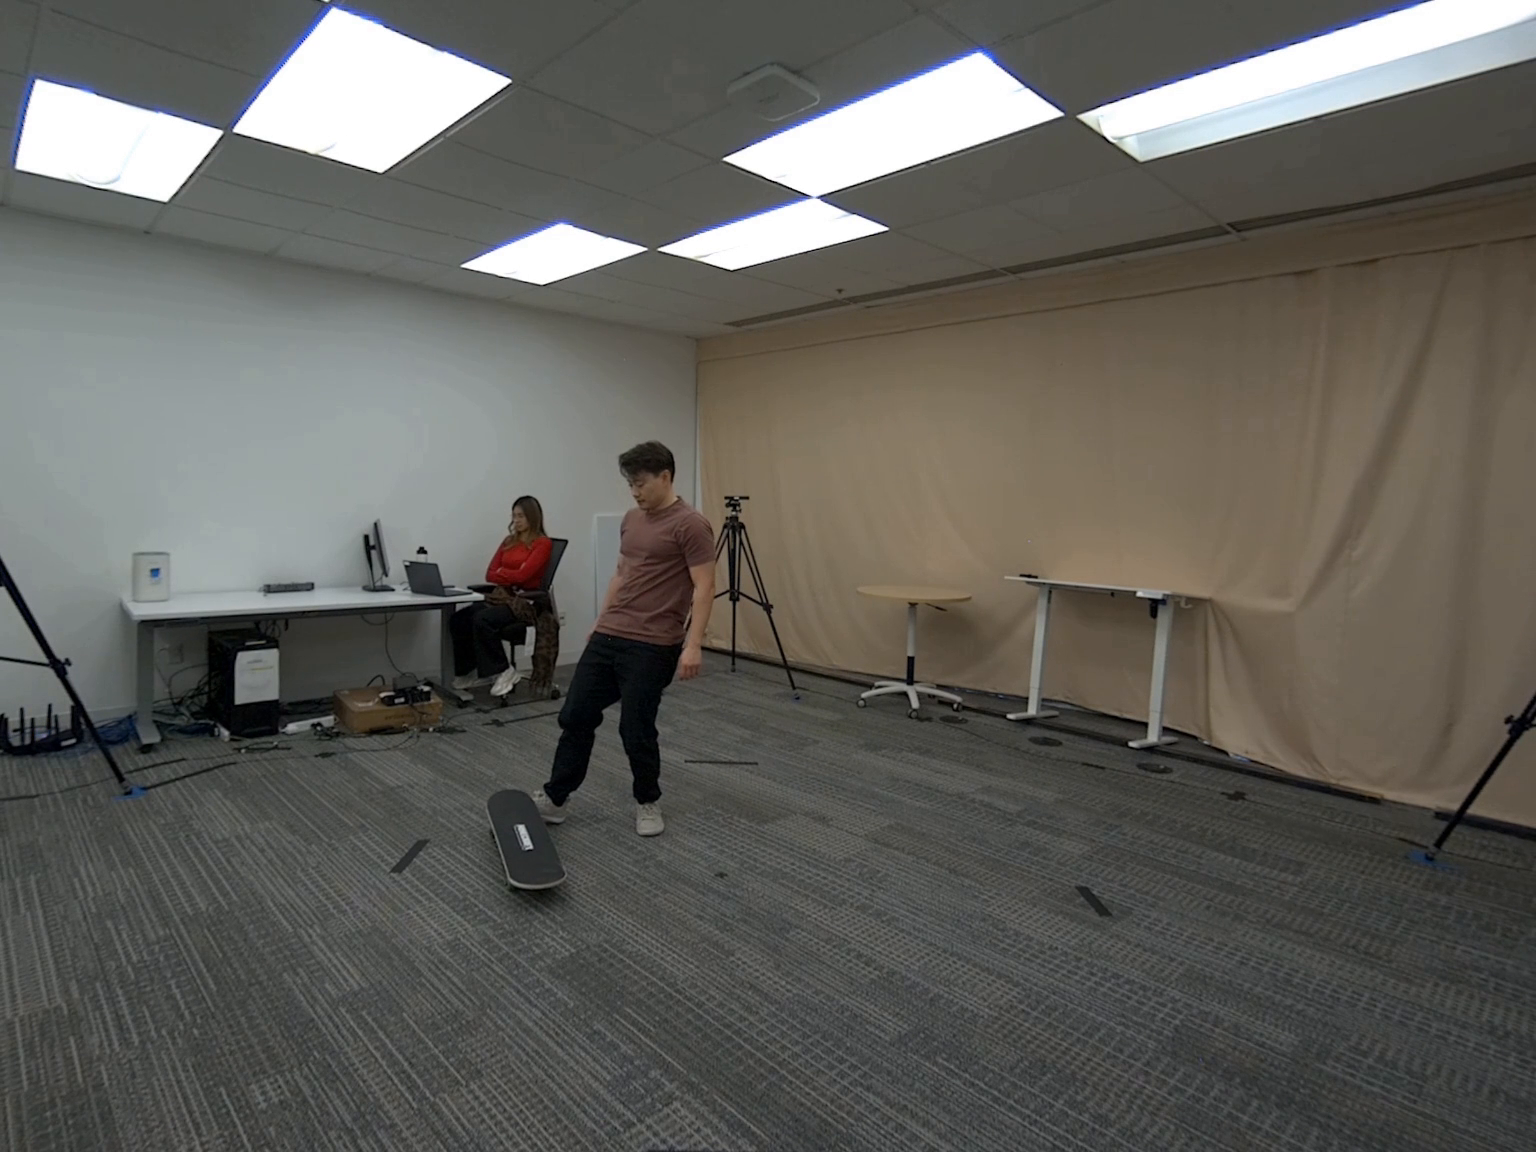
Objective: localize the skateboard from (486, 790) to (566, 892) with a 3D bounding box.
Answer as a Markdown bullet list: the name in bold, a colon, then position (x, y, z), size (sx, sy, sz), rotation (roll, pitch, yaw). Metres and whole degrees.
- **skateboard**: position (-0.929, 1.015, 3.158), size (0.190, 0.110, 0.803), rotation (1, 9, -25)
